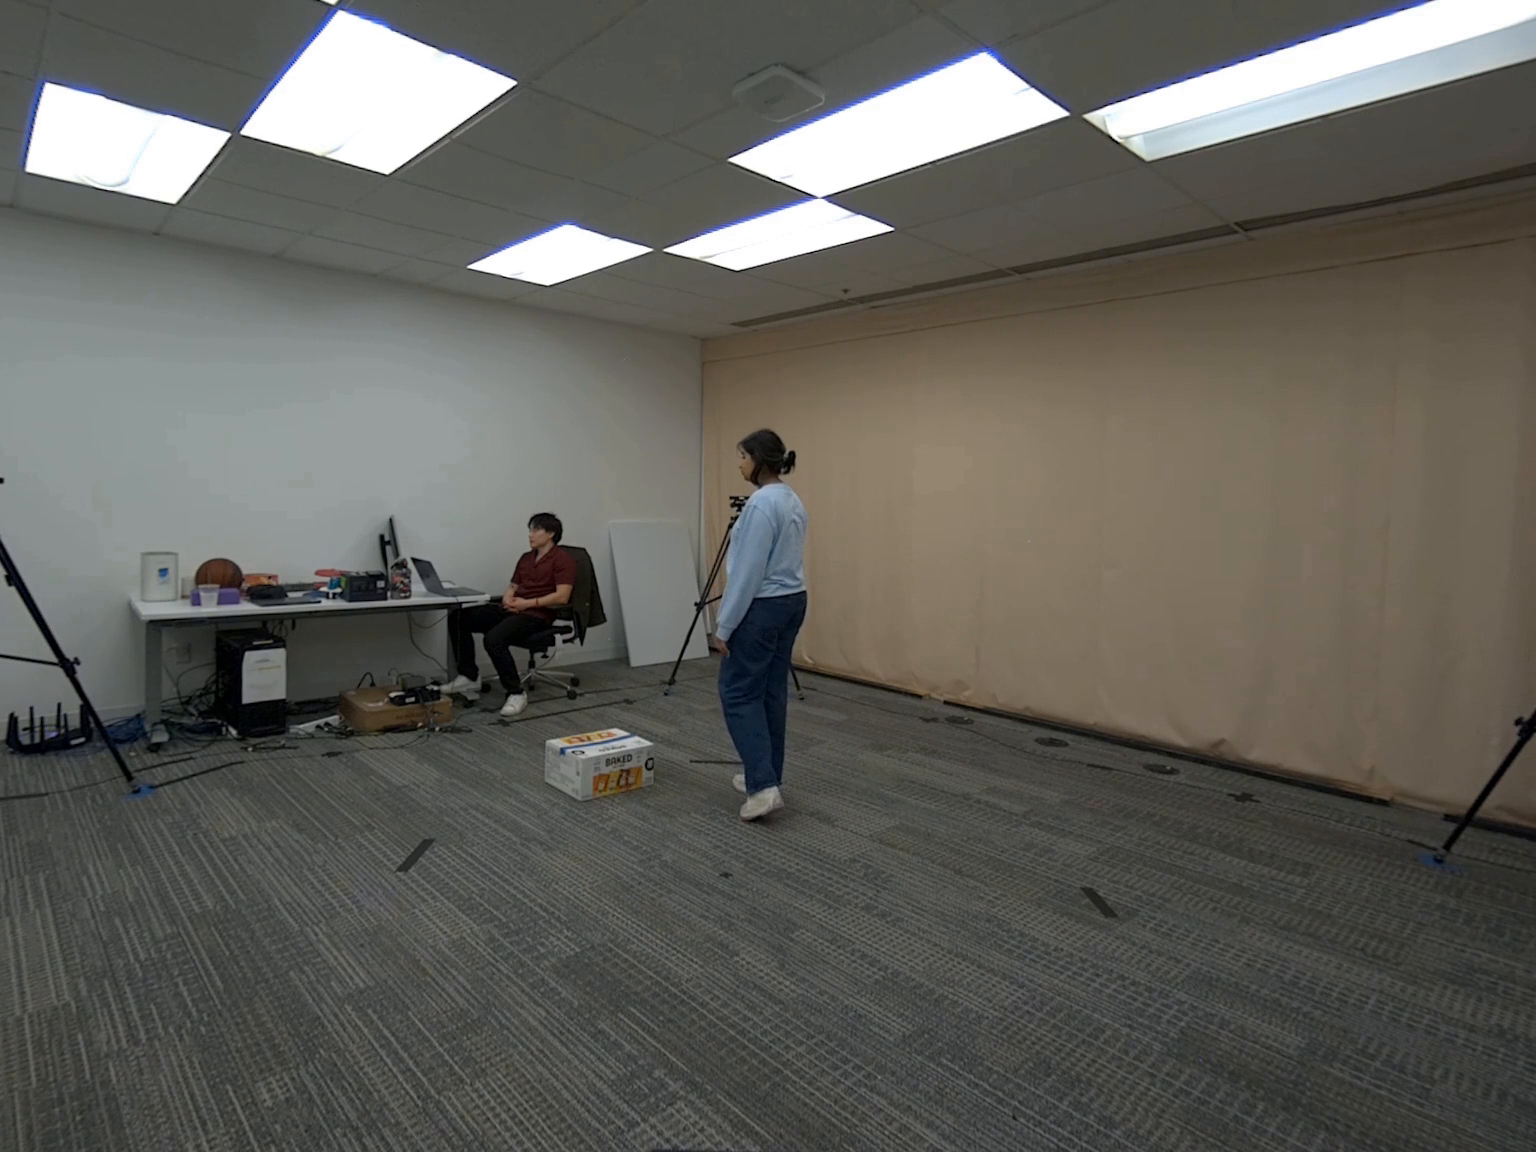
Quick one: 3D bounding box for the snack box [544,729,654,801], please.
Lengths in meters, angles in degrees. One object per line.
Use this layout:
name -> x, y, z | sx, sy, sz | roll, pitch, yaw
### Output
snack box -> -0.819, 0.900, 4.060 | 0.396, 0.205, 0.349 | -2, 5, -42
